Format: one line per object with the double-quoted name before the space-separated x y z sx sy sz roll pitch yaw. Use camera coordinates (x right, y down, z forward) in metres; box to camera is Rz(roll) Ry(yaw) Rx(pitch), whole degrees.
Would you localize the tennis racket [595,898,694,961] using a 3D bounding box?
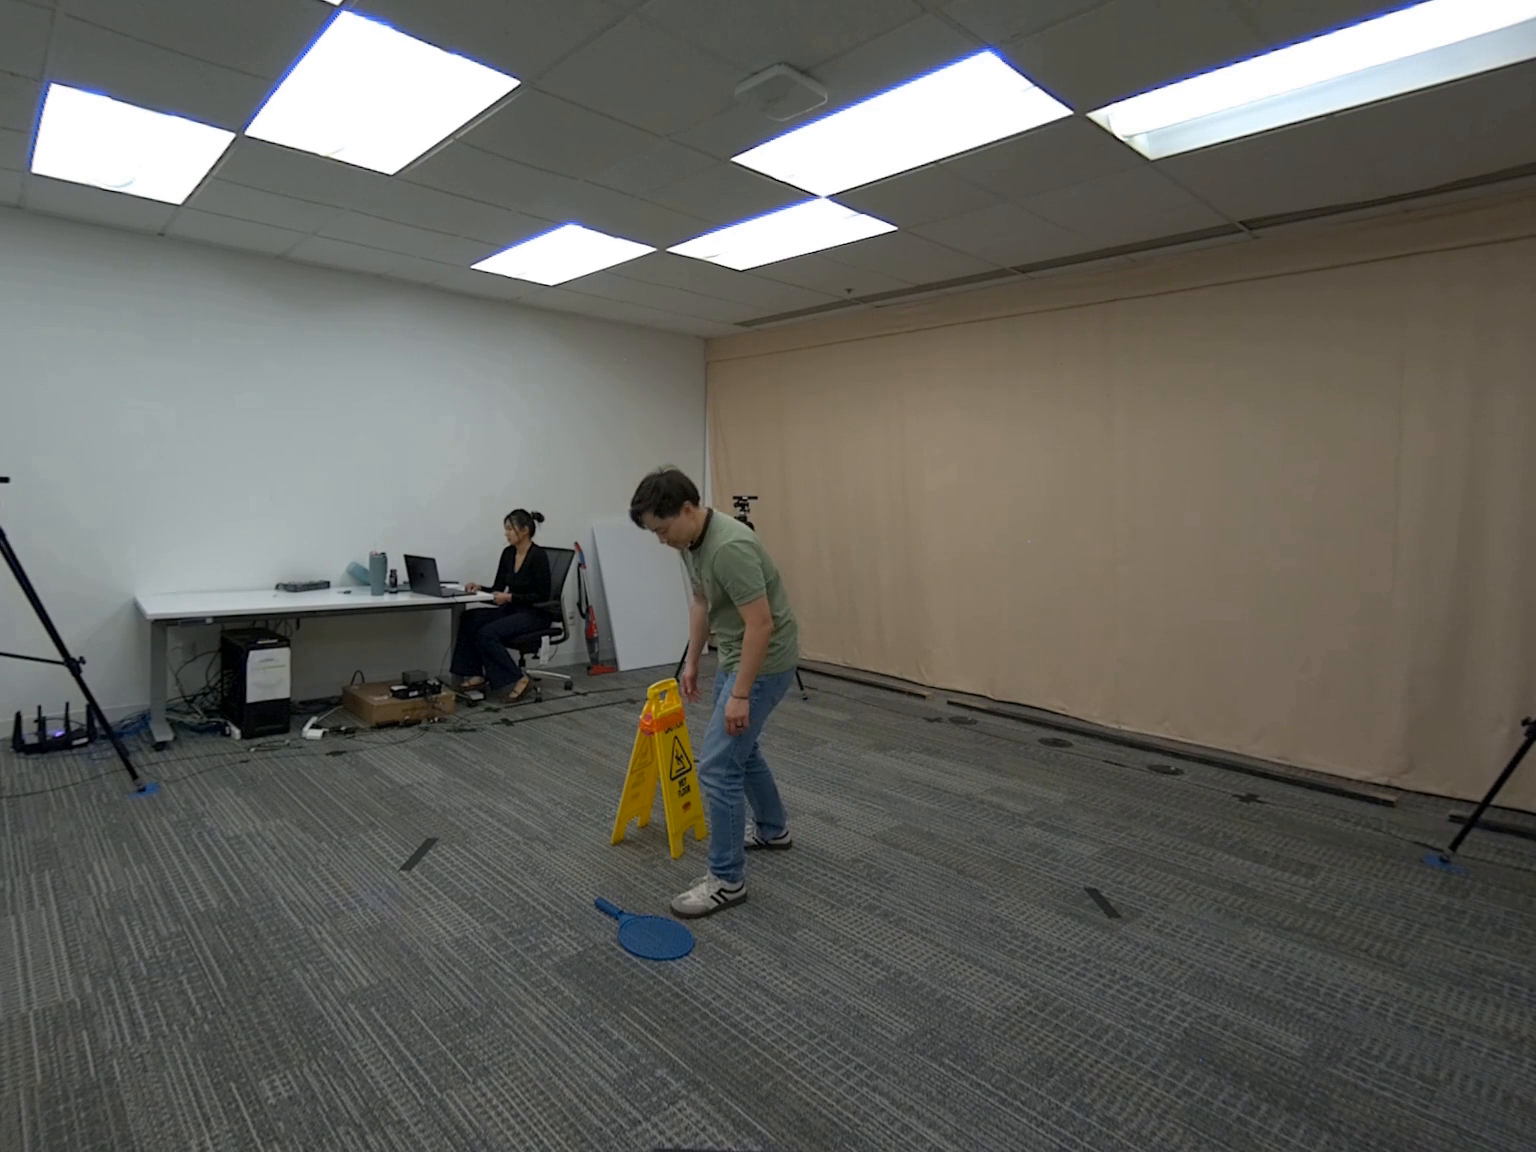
"tennis racket" -0.410 1.126 2.685 0.209 0.031 0.444 -4 9 -44
